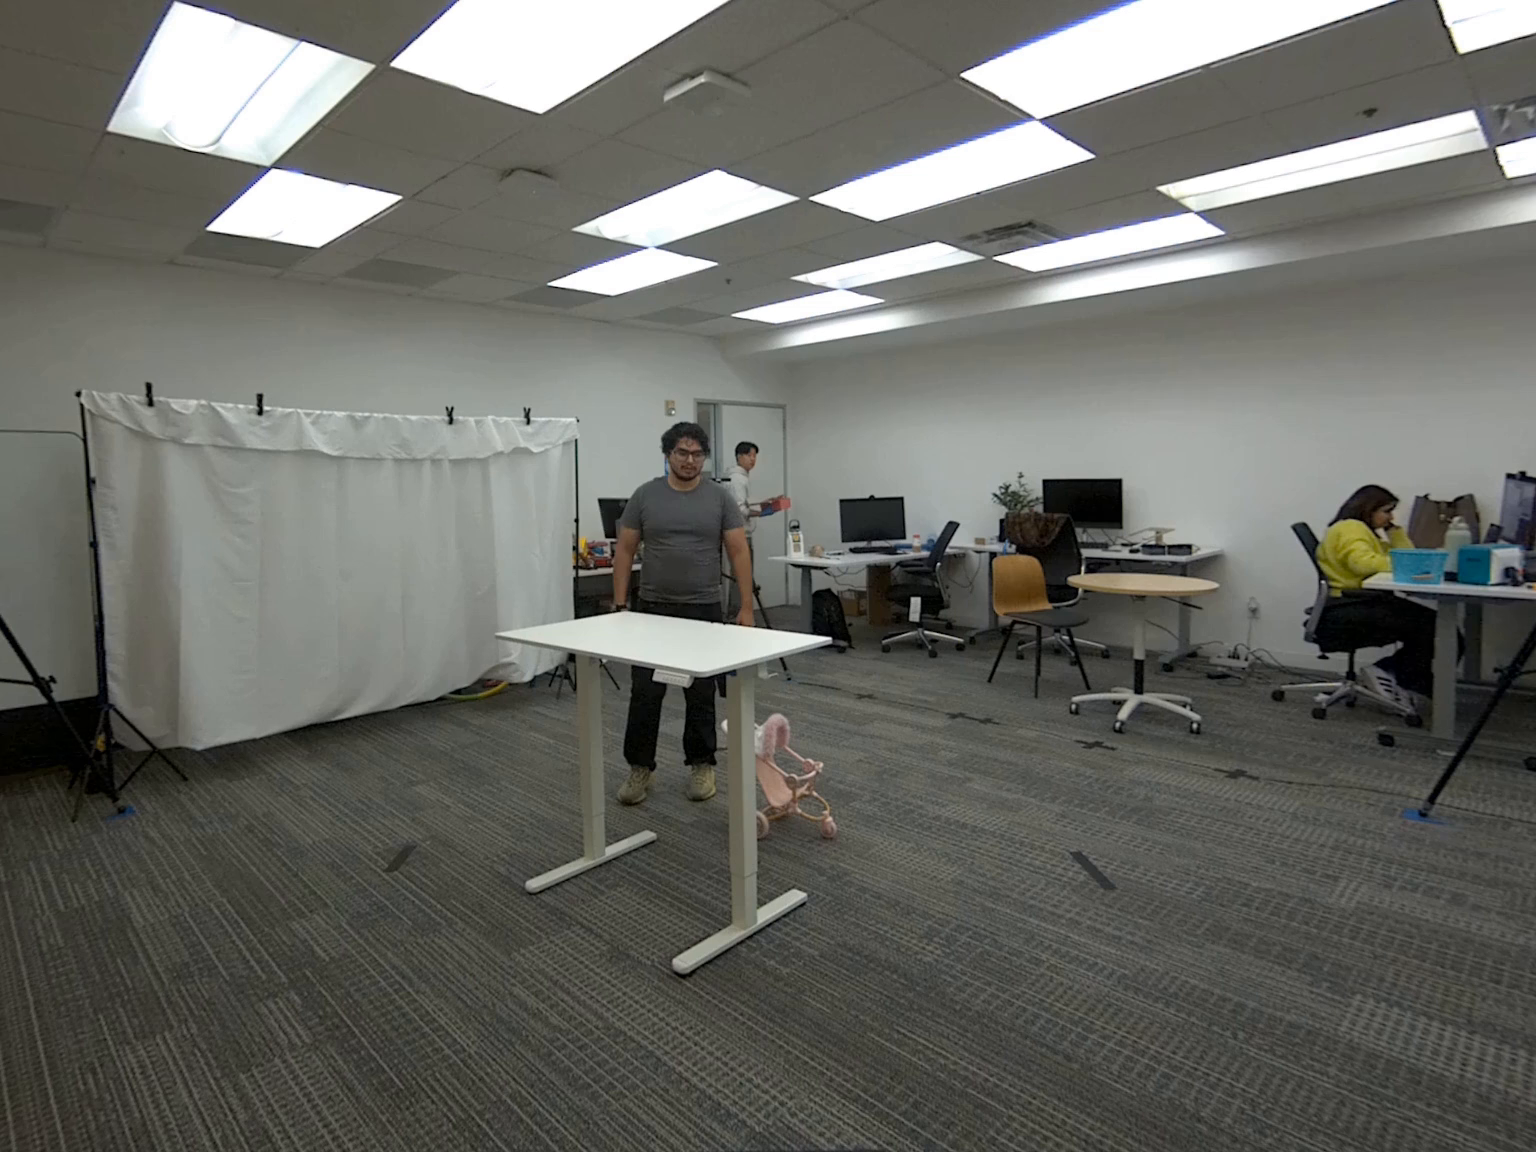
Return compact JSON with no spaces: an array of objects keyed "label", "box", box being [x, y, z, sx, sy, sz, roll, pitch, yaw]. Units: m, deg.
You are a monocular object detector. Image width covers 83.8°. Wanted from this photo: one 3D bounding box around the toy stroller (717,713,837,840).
[{"label":"toy stroller","box":[0.058,0.786,3.384,0.347,0.537,0.275,-18,-4,29]}]
